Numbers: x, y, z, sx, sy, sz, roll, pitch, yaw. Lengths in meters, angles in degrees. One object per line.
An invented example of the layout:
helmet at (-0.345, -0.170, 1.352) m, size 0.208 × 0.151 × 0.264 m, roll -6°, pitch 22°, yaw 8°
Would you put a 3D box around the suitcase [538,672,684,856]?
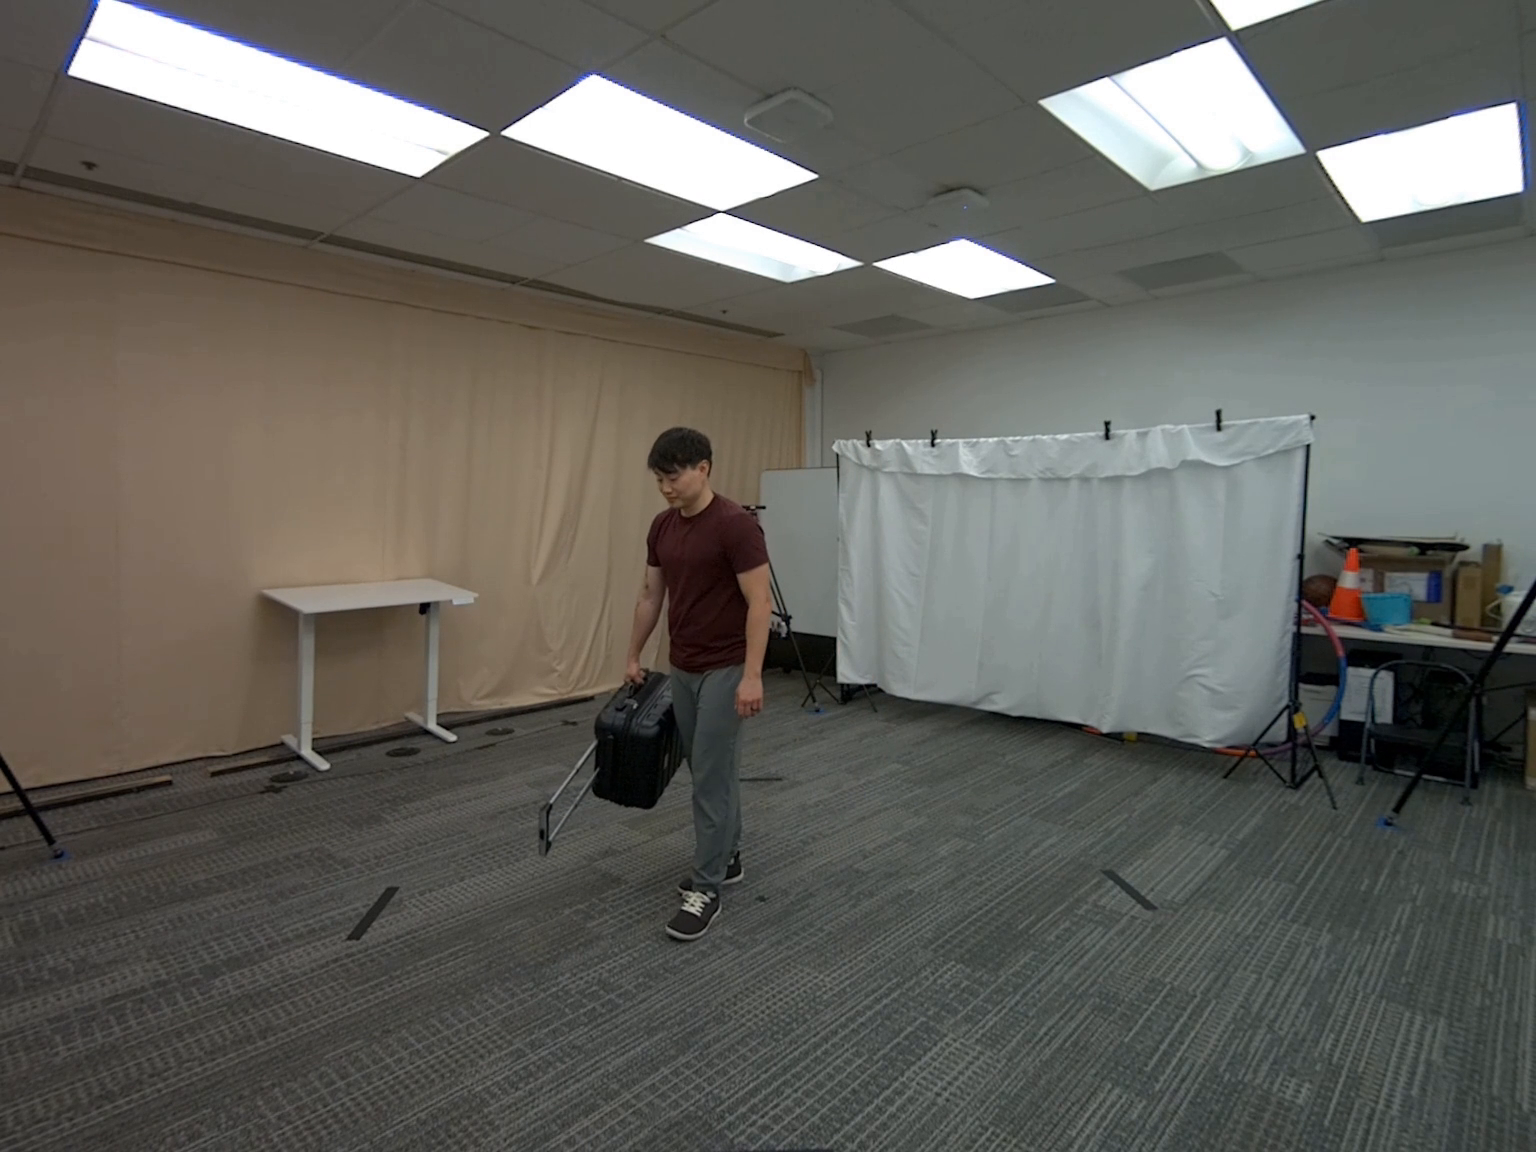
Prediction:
suitcase at (-0.496, 0.648, 2.976) m, size 0.259 × 0.381 × 0.976 m, roll 6°, pitch 15°, yaw 7°
